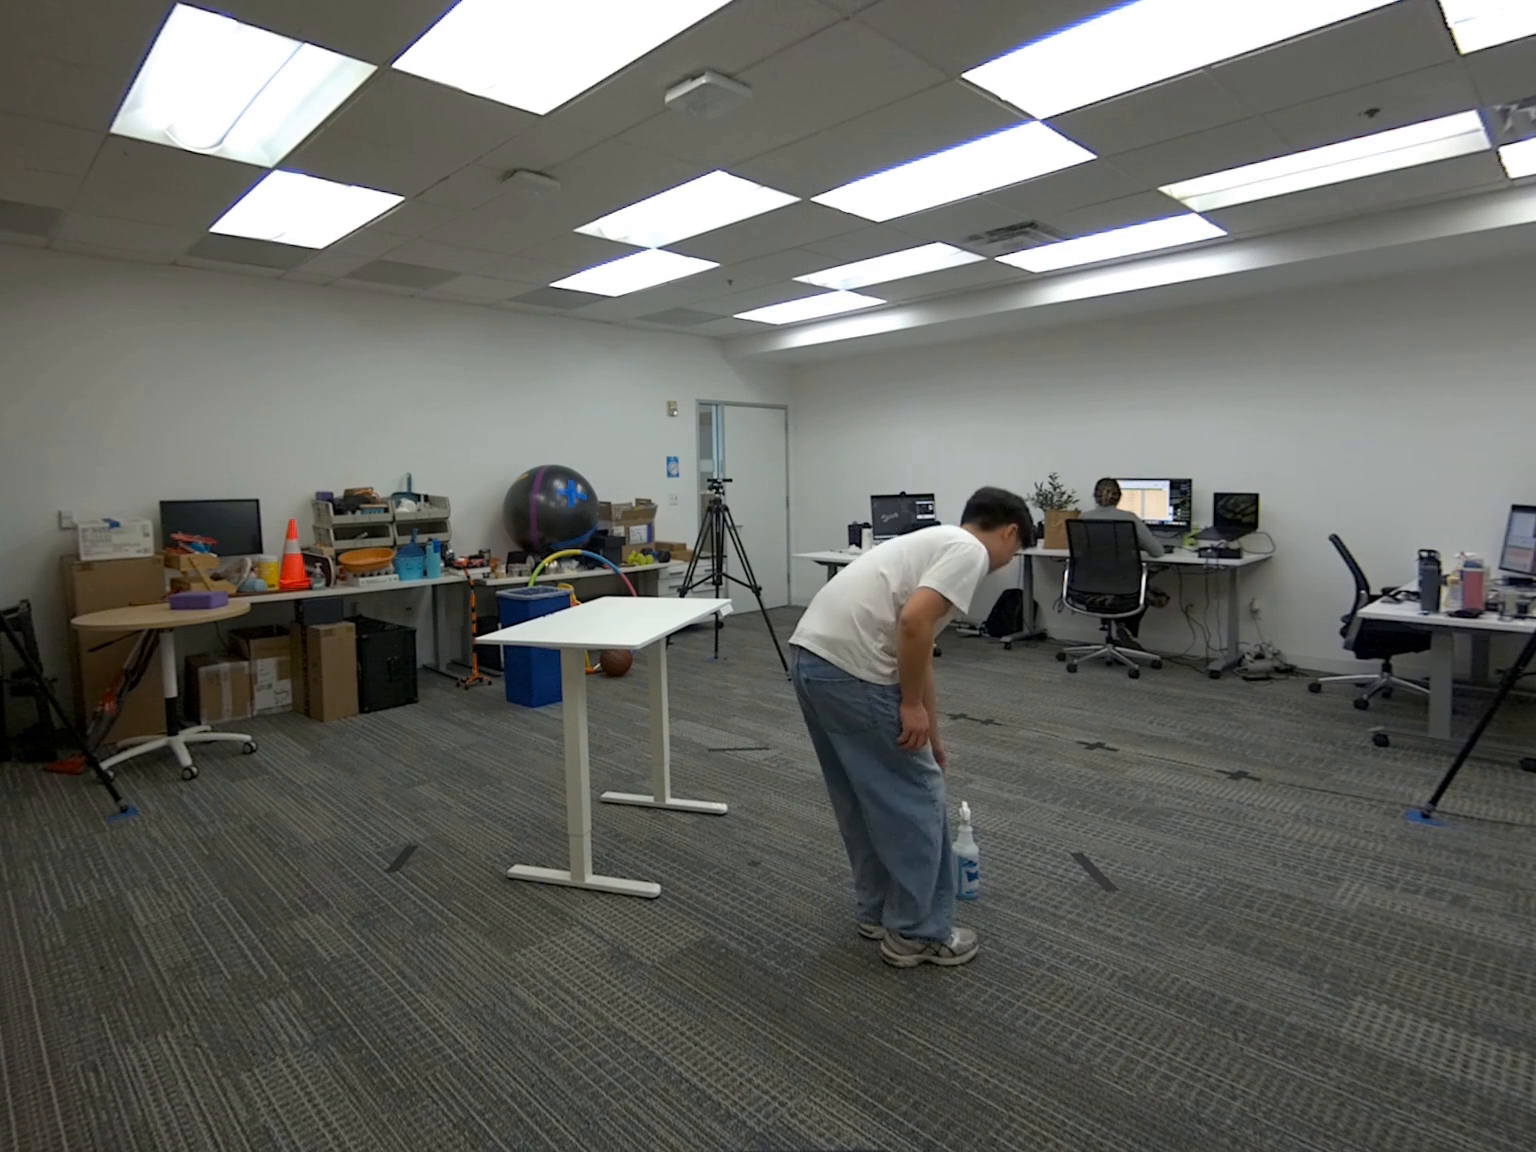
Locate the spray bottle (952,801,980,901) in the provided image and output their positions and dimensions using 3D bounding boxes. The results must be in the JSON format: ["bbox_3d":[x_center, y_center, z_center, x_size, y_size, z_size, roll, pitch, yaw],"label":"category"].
[{"bbox_3d":[0.658,0.914,2.851,0.089,0.297,0.088,-1,2,36],"label":"spray bottle"}]
